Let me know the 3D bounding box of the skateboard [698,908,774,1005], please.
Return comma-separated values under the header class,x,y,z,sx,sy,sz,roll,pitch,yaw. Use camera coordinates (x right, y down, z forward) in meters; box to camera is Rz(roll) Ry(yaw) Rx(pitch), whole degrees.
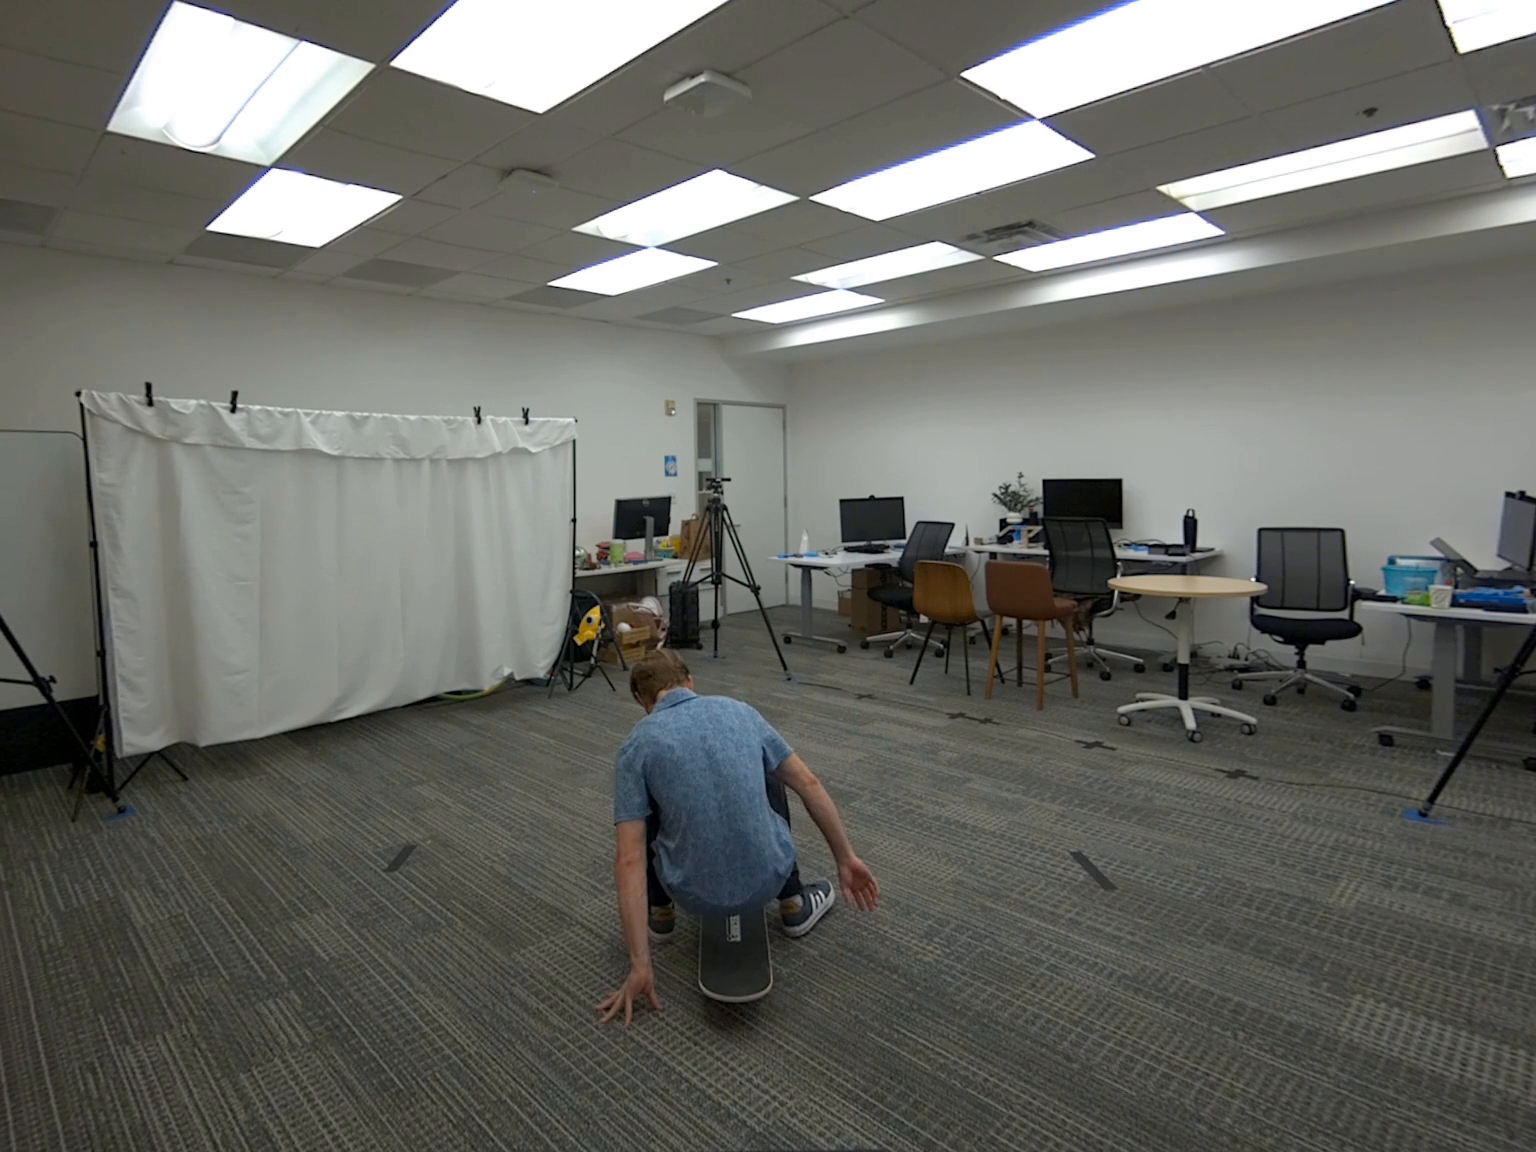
class,x,y,z,sx,sy,sz,roll,pitch,yaw
skateboard,-0.096,1.057,2.523,0.193,0.110,0.792,-2,7,-4
